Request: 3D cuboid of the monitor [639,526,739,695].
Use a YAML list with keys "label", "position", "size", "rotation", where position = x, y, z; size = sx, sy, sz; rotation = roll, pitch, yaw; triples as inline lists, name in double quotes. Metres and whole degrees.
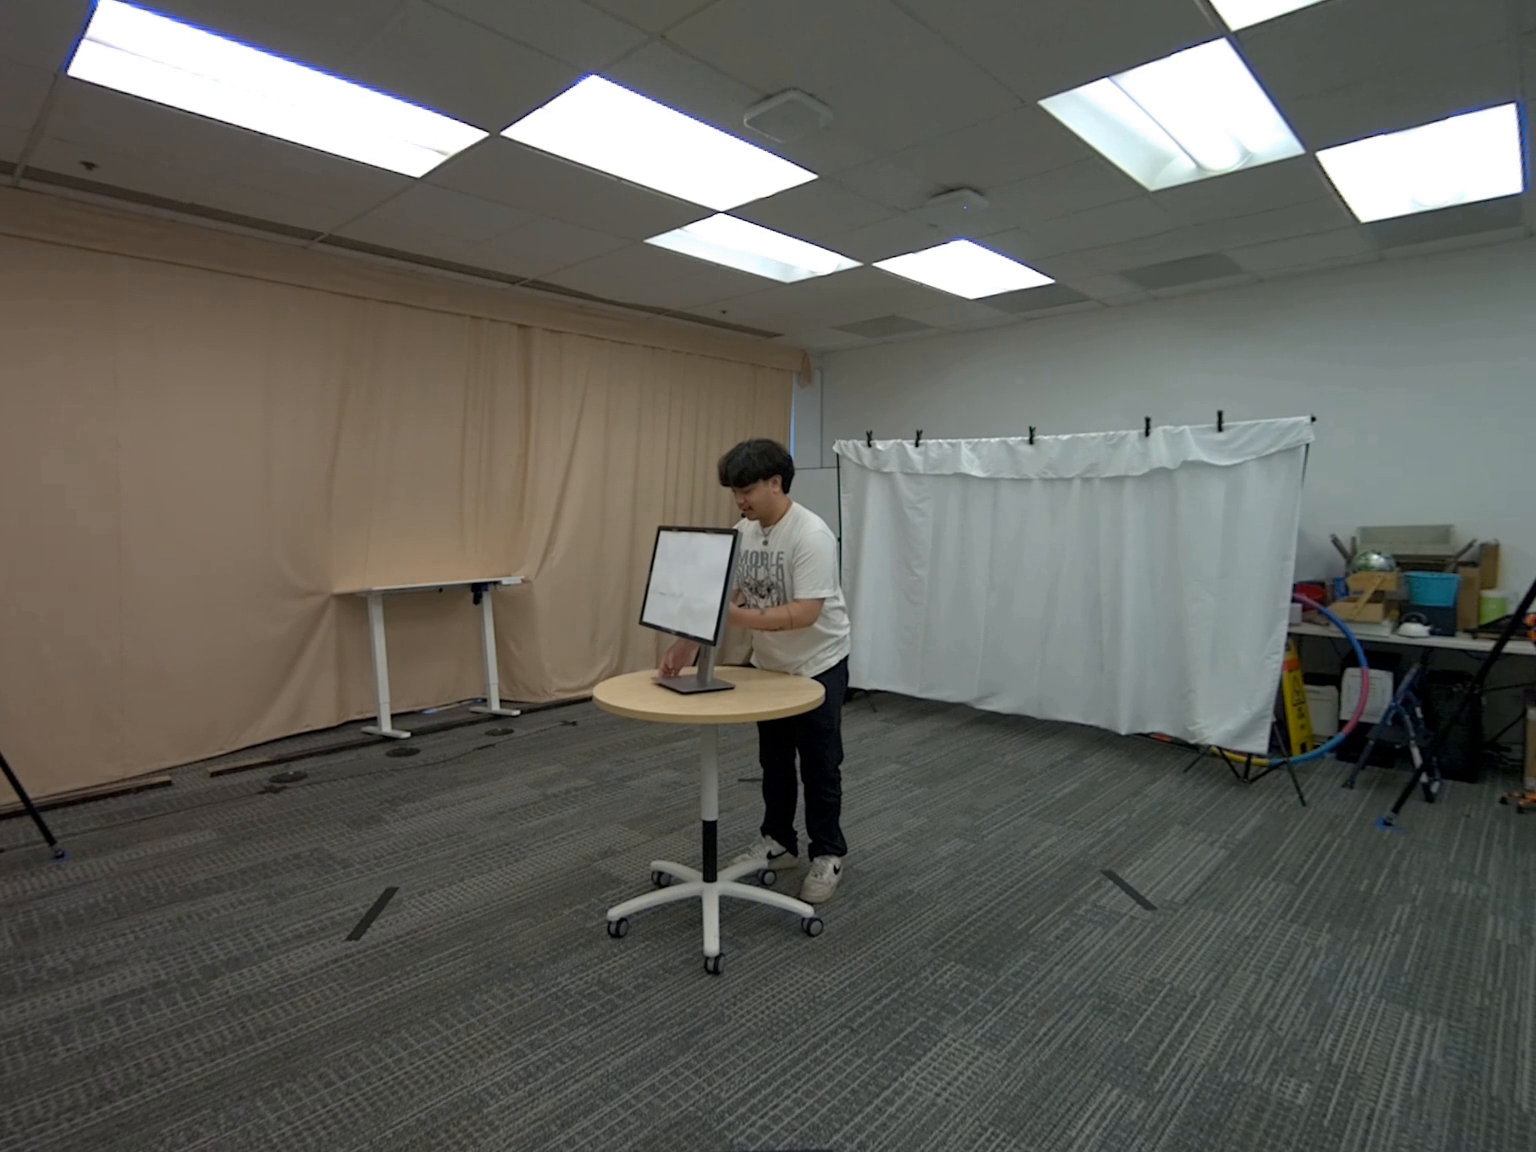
- label: "monitor"
  position: [-0.216, 0.113, 2.820]
  size: [0.204, 0.554, 0.582]
  rotation: [6, 0, -33]
